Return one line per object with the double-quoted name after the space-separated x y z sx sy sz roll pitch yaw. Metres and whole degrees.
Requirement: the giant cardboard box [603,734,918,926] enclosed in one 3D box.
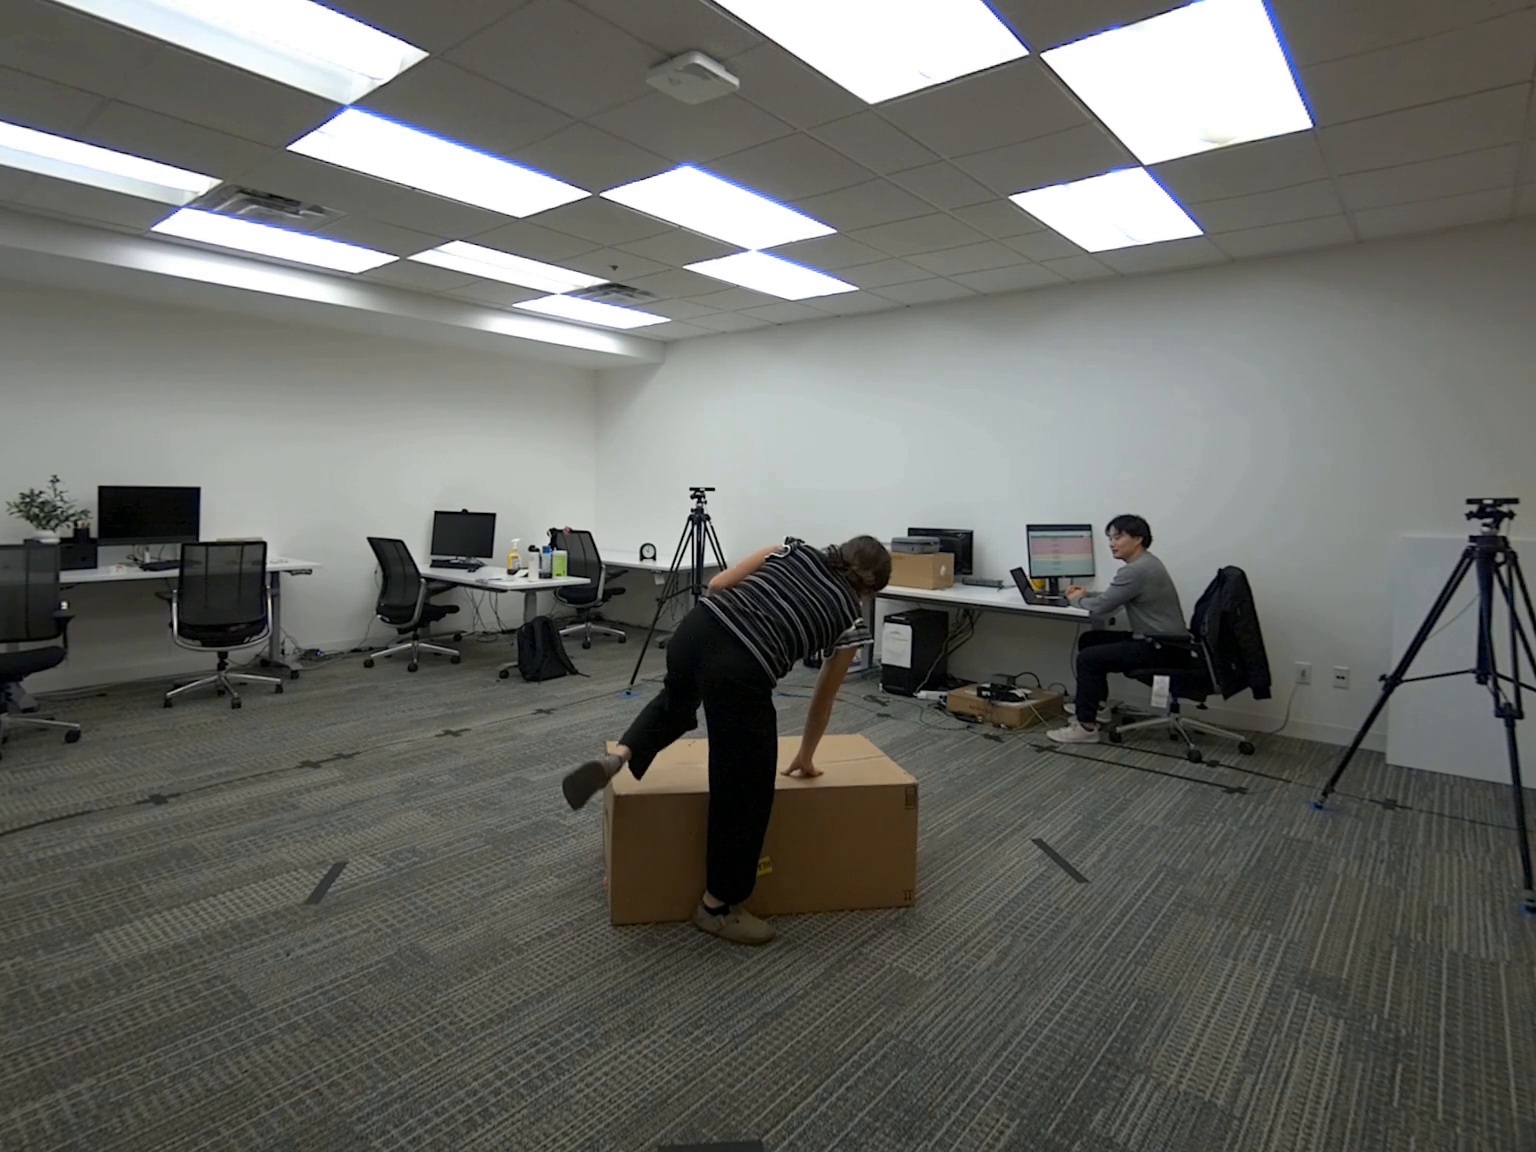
-0.067 0.865 3.039 1.014 0.425 0.586 0 5 -11 "giant cardboard box"
